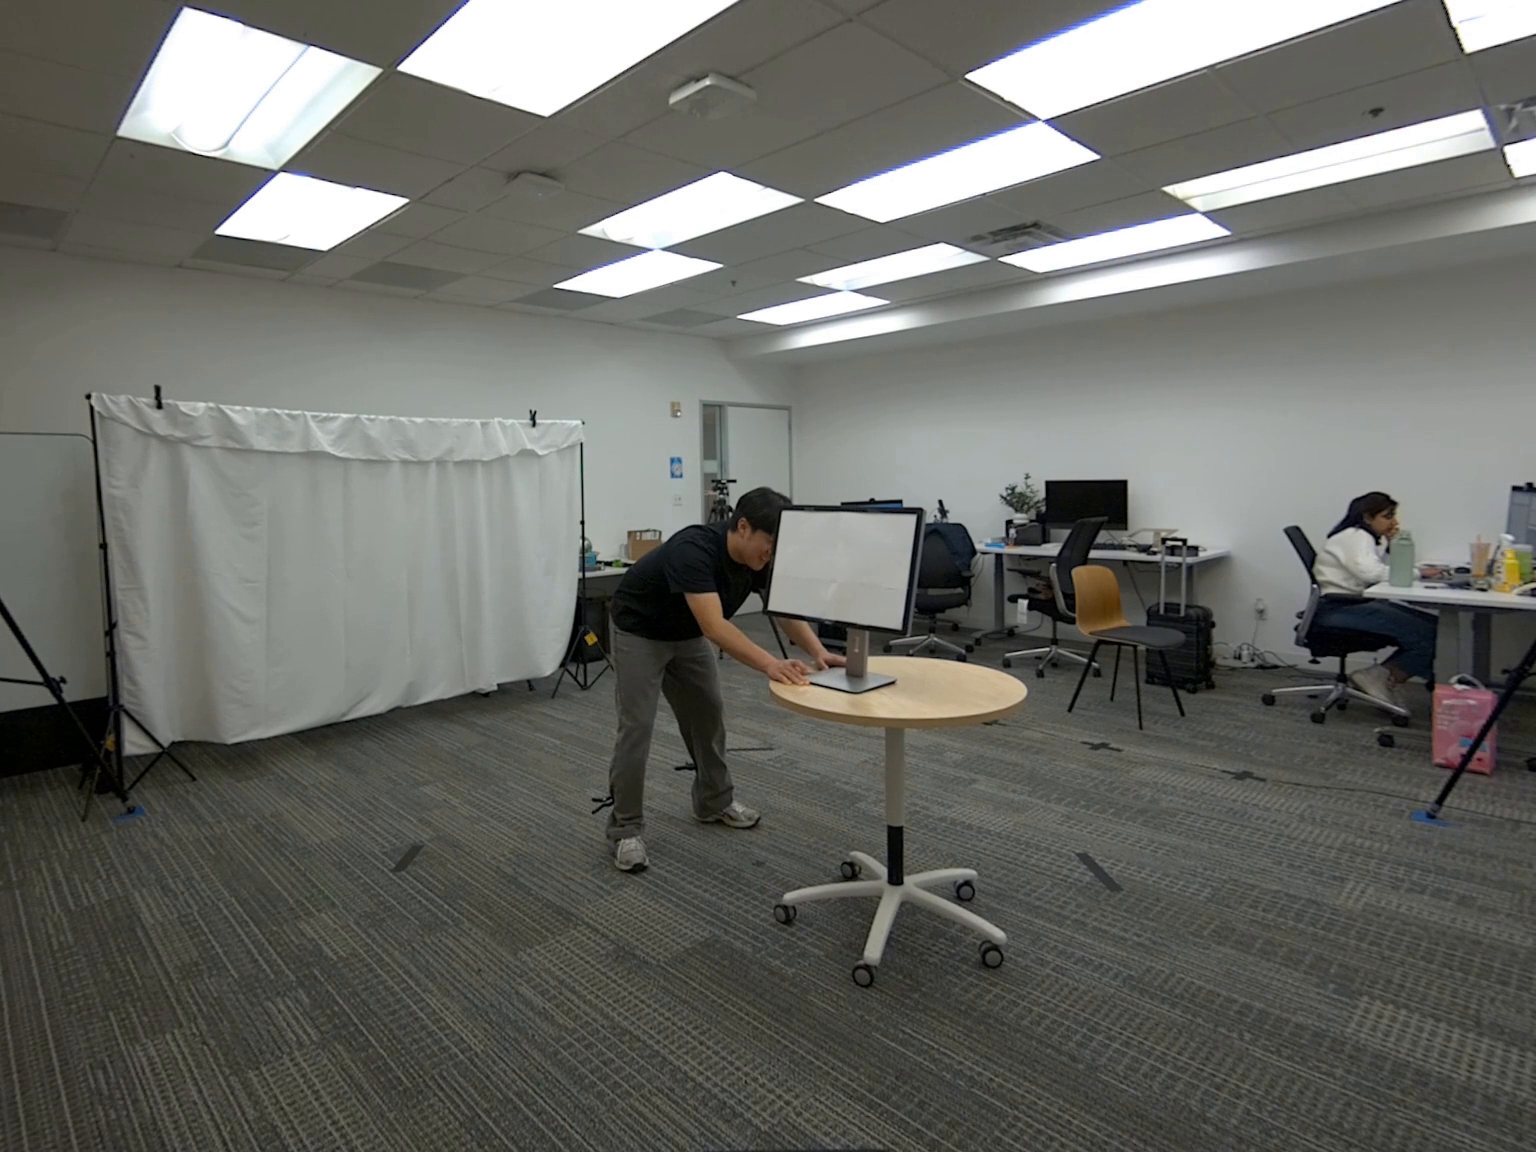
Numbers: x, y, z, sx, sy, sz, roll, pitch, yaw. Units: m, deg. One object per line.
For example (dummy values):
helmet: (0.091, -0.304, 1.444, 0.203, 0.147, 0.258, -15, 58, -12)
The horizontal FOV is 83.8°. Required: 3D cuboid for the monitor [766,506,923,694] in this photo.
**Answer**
monitor: (0.262, 0.059, 2.630, 0.204, 0.554, 0.583, 4, 0, -45)
